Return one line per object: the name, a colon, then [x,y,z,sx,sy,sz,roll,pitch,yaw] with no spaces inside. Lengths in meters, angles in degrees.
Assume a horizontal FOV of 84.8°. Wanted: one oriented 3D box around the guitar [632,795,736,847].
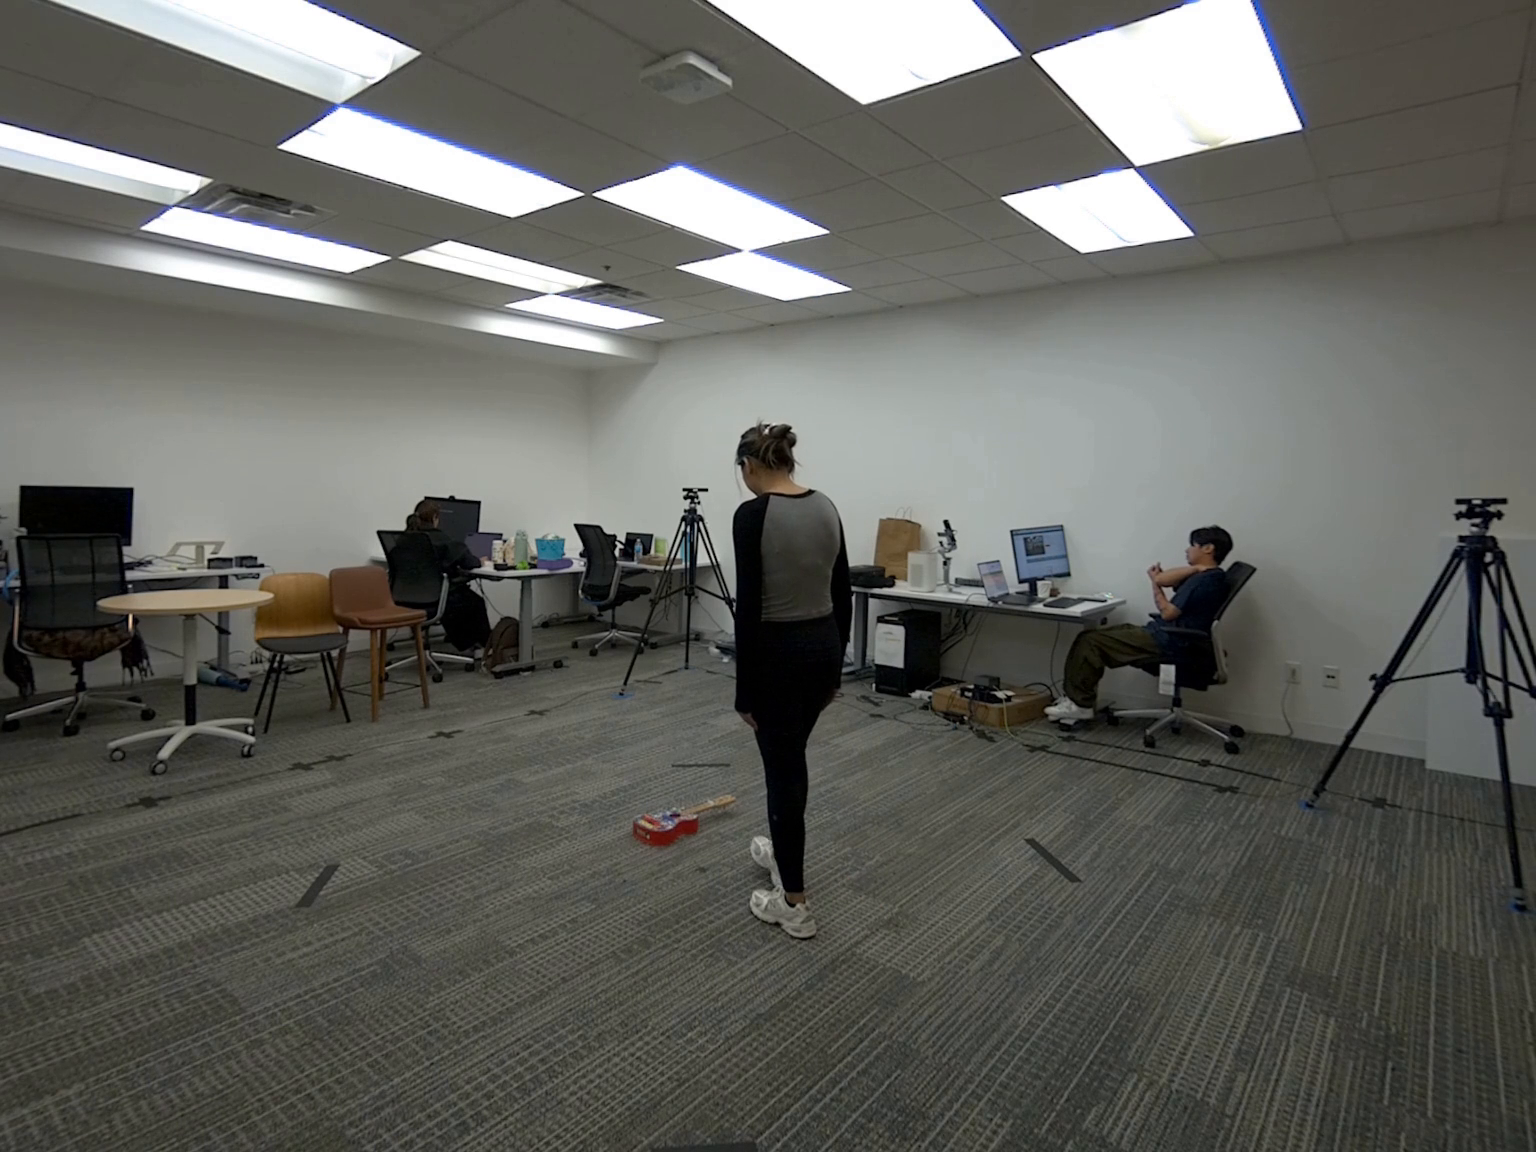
guitar: [-0.320,0.994,3.487,0.484,0.070,0.199,-4,7,-33]
